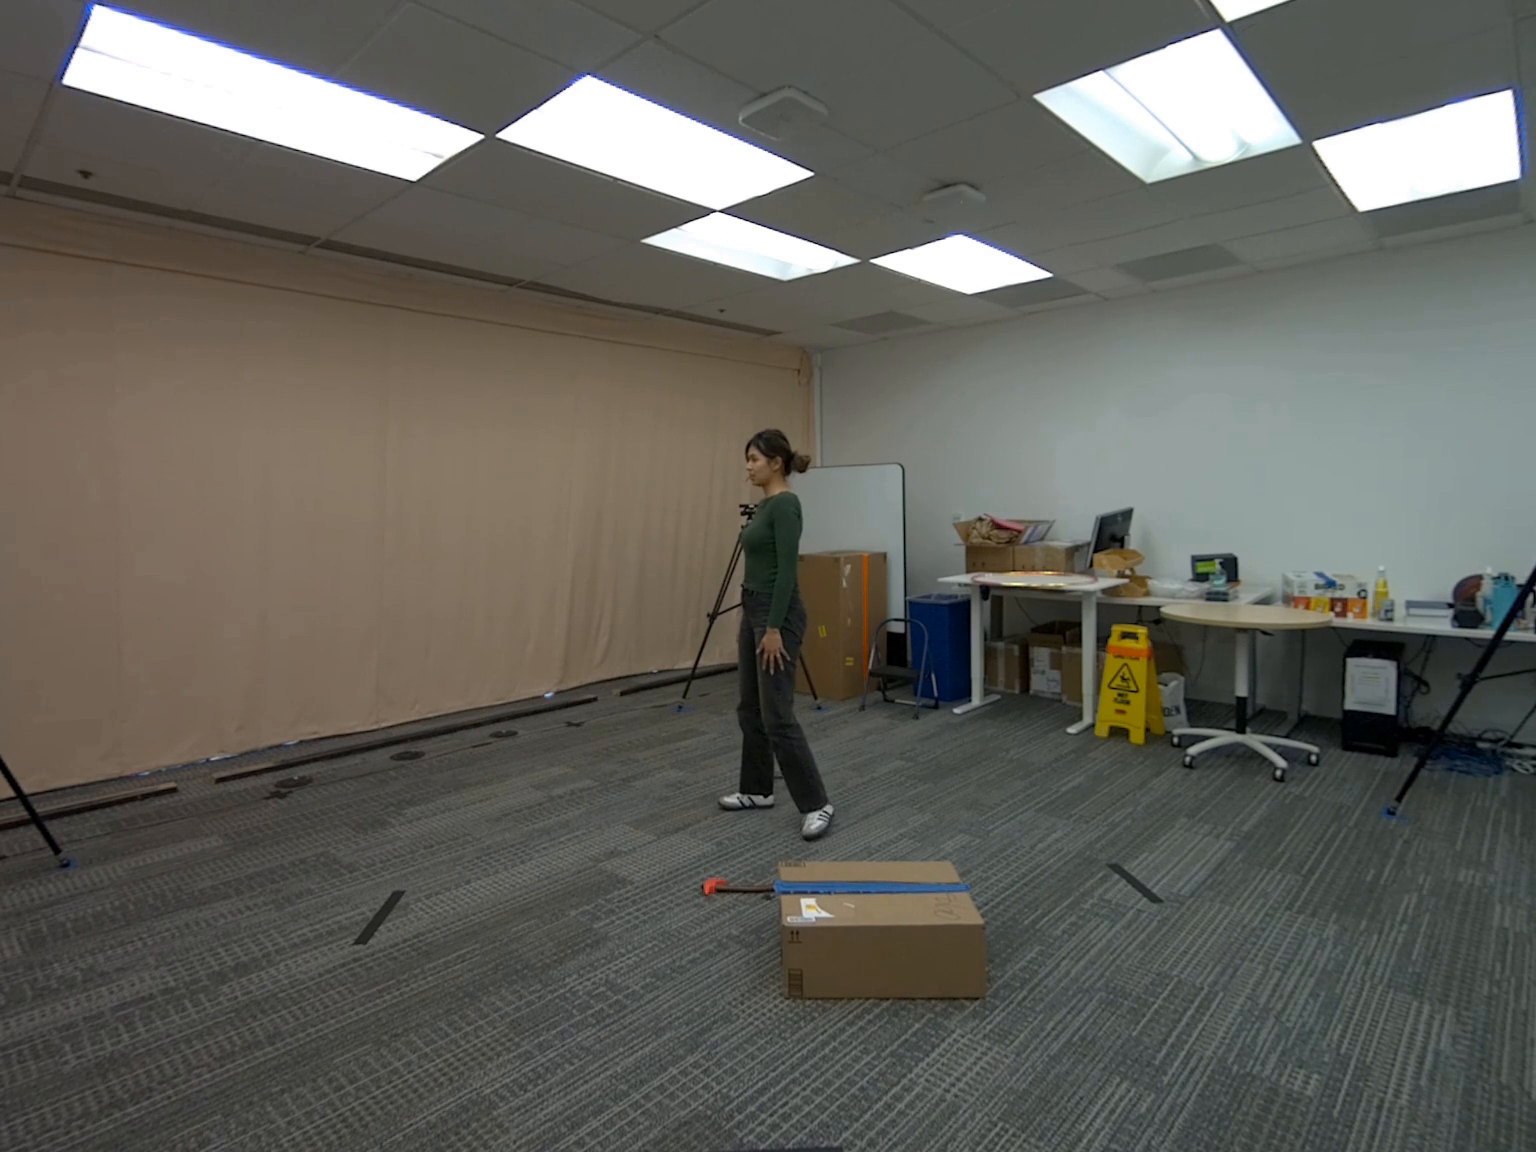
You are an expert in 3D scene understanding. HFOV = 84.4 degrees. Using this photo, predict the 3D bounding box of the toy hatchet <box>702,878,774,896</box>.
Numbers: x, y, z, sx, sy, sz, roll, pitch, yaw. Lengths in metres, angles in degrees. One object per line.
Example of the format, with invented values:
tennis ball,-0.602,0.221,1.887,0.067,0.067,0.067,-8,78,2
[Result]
toy hatchet,-0.106,1.122,3.065,0.267,0.029,0.132,1,0,-12
